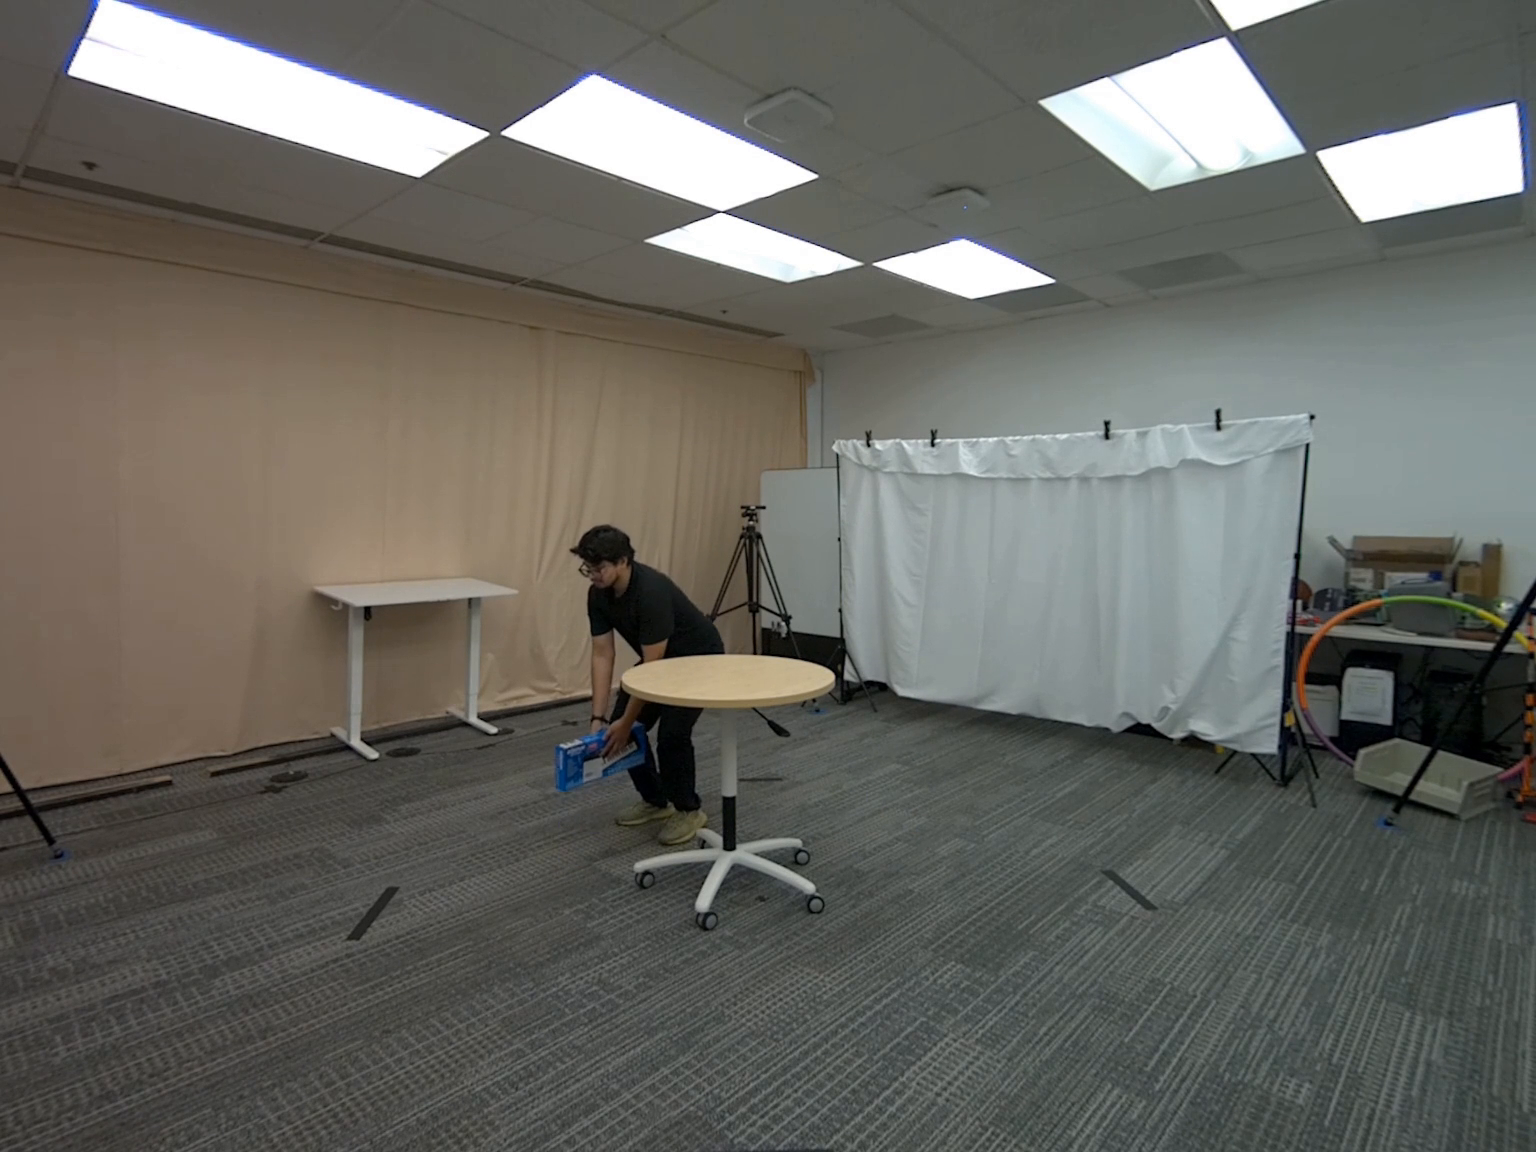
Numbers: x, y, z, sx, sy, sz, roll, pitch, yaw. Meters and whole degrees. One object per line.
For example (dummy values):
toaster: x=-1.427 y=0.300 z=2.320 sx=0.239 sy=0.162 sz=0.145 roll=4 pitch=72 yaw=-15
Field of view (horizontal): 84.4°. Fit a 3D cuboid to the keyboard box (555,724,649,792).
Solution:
keyboard box: x=-0.679 y=0.727 z=3.428 sx=0.061 sy=0.175 sz=0.424 roll=6 pitch=8 yaw=38
